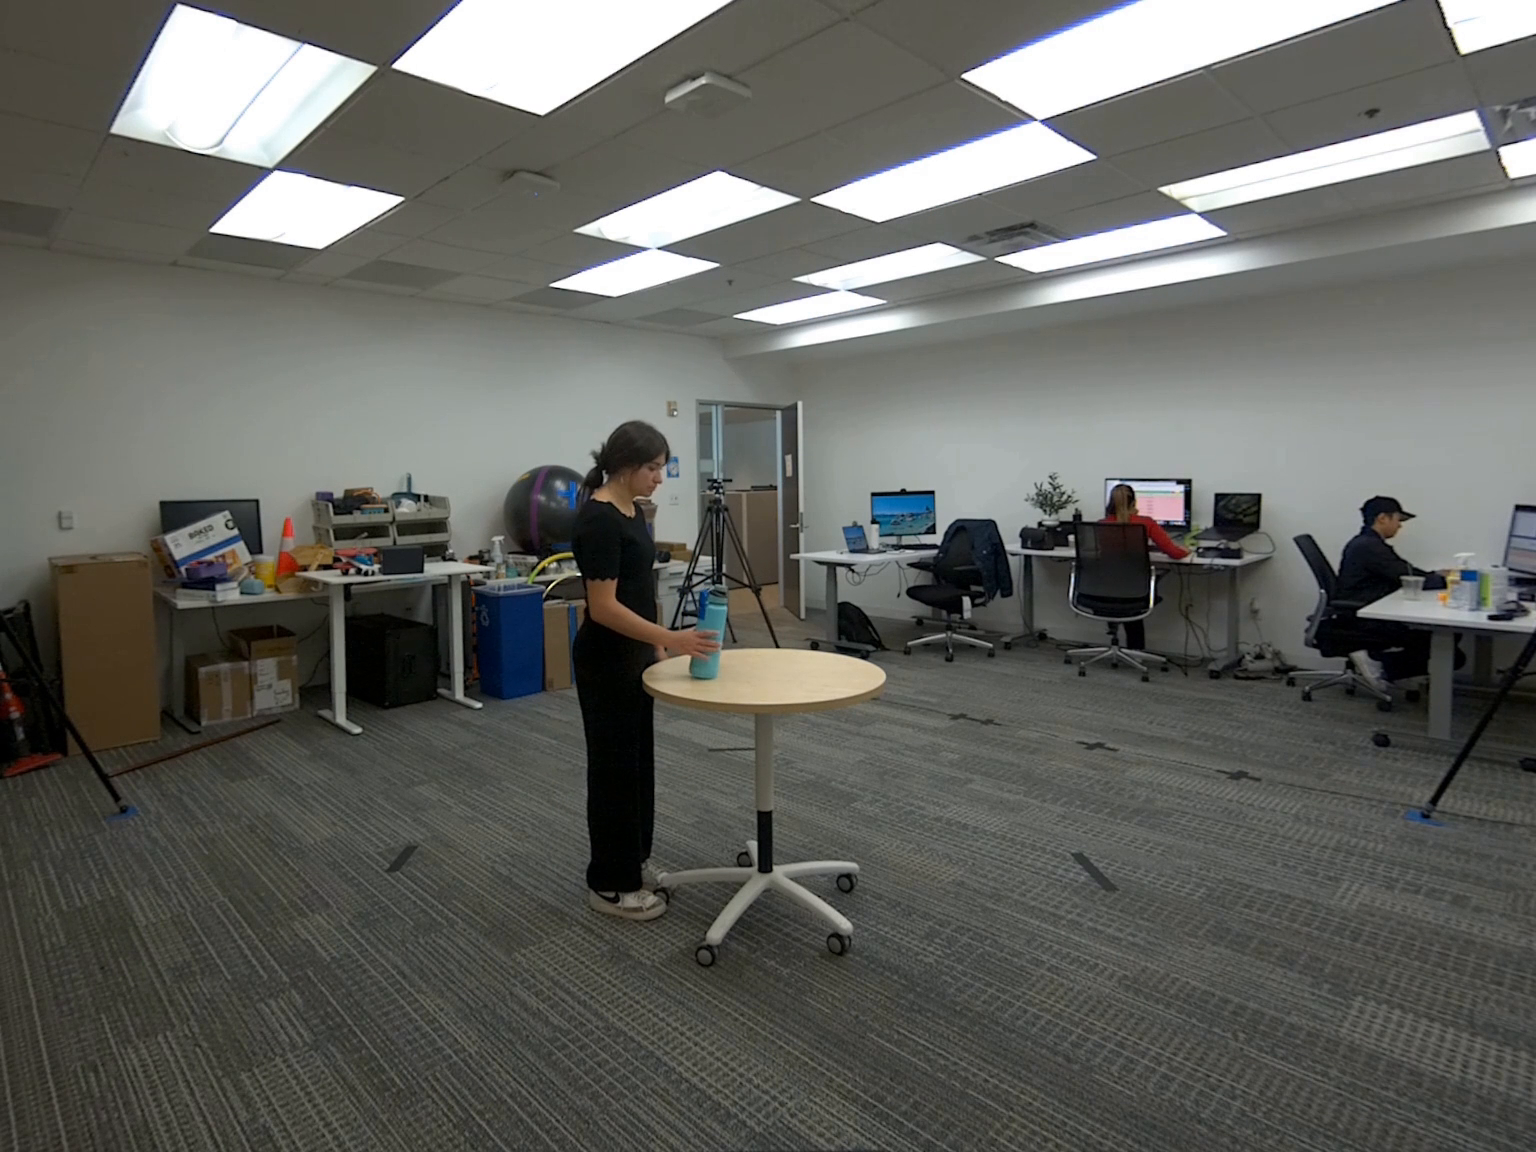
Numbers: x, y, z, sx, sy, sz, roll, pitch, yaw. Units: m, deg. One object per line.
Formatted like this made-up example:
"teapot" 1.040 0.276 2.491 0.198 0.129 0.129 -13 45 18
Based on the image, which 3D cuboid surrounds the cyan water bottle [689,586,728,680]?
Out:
"cyan water bottle" -0.183 0.170 2.647 0.092 0.282 0.093 8 5 -3
